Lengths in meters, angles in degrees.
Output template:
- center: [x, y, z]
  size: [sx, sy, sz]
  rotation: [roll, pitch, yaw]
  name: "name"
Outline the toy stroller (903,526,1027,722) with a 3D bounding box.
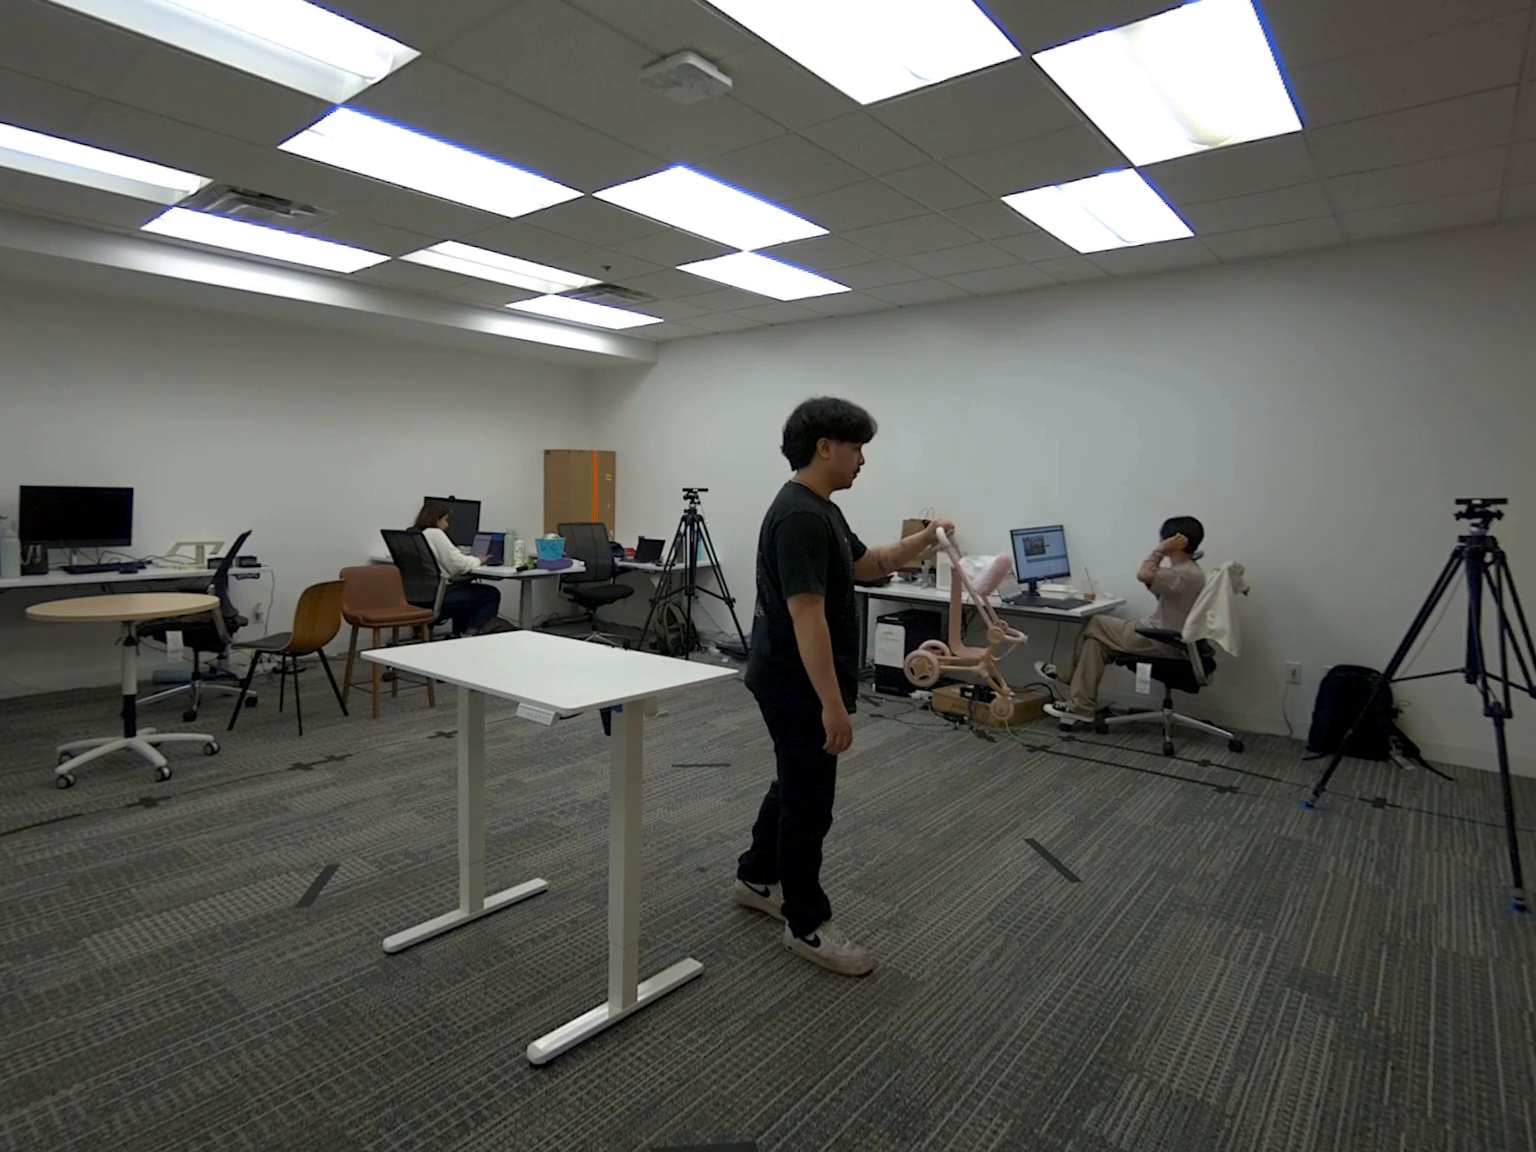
- center: [0.626, 0.147, 2.619]
  size: [0.351, 0.532, 0.274]
  rotation: [15, 7, 24]
  name: "toy stroller"
